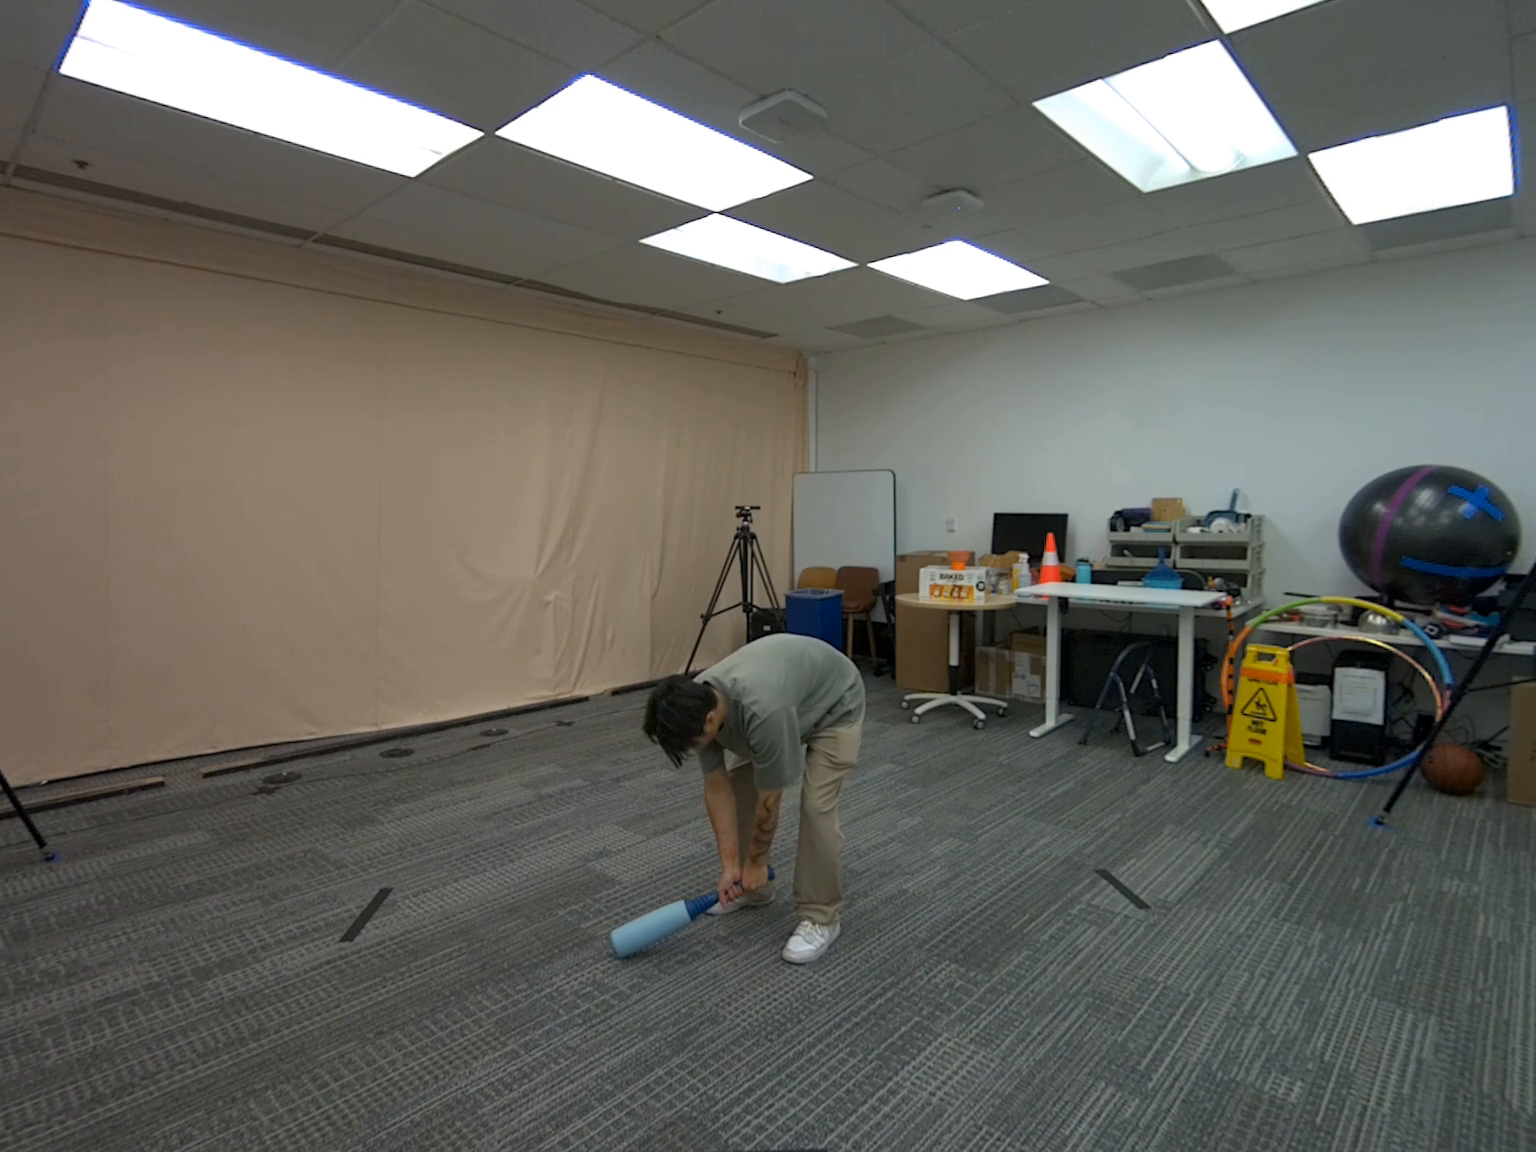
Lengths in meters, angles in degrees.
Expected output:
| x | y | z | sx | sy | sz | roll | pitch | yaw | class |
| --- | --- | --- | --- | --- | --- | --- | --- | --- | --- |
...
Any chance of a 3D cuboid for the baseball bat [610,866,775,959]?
| x | y | z | sx | sy | sz | roll | pitch | yaw | class |
| --- | --- | --- | --- | --- | --- | --- | --- | --- | --- |
| -0.228 | 1.043 | 2.628 | 0.541 | 0.088 | 0.090 | -20 | 6 | -4 | baseball bat |
